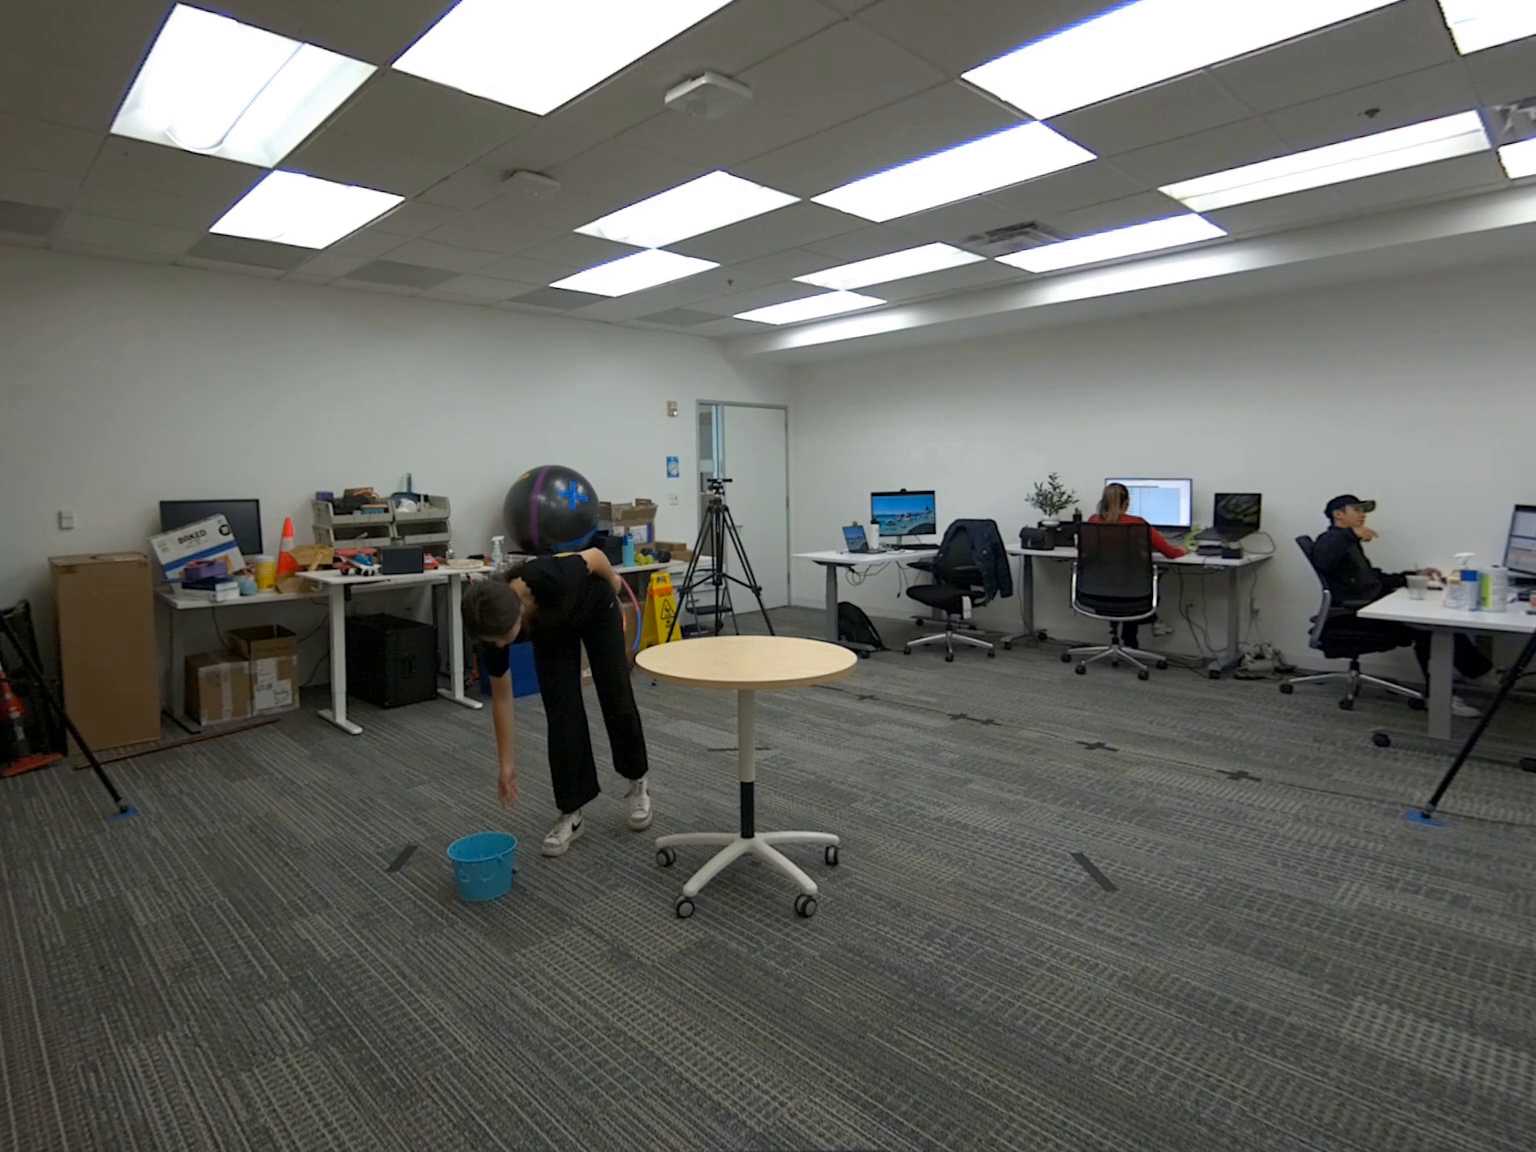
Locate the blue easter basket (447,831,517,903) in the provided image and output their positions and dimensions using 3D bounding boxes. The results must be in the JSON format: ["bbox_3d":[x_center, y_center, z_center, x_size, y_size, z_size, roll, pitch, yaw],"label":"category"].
[{"bbox_3d":[-0.978,1.005,2.945,0.243,0.155,0.245,-1,6,-2],"label":"blue easter basket"}]
